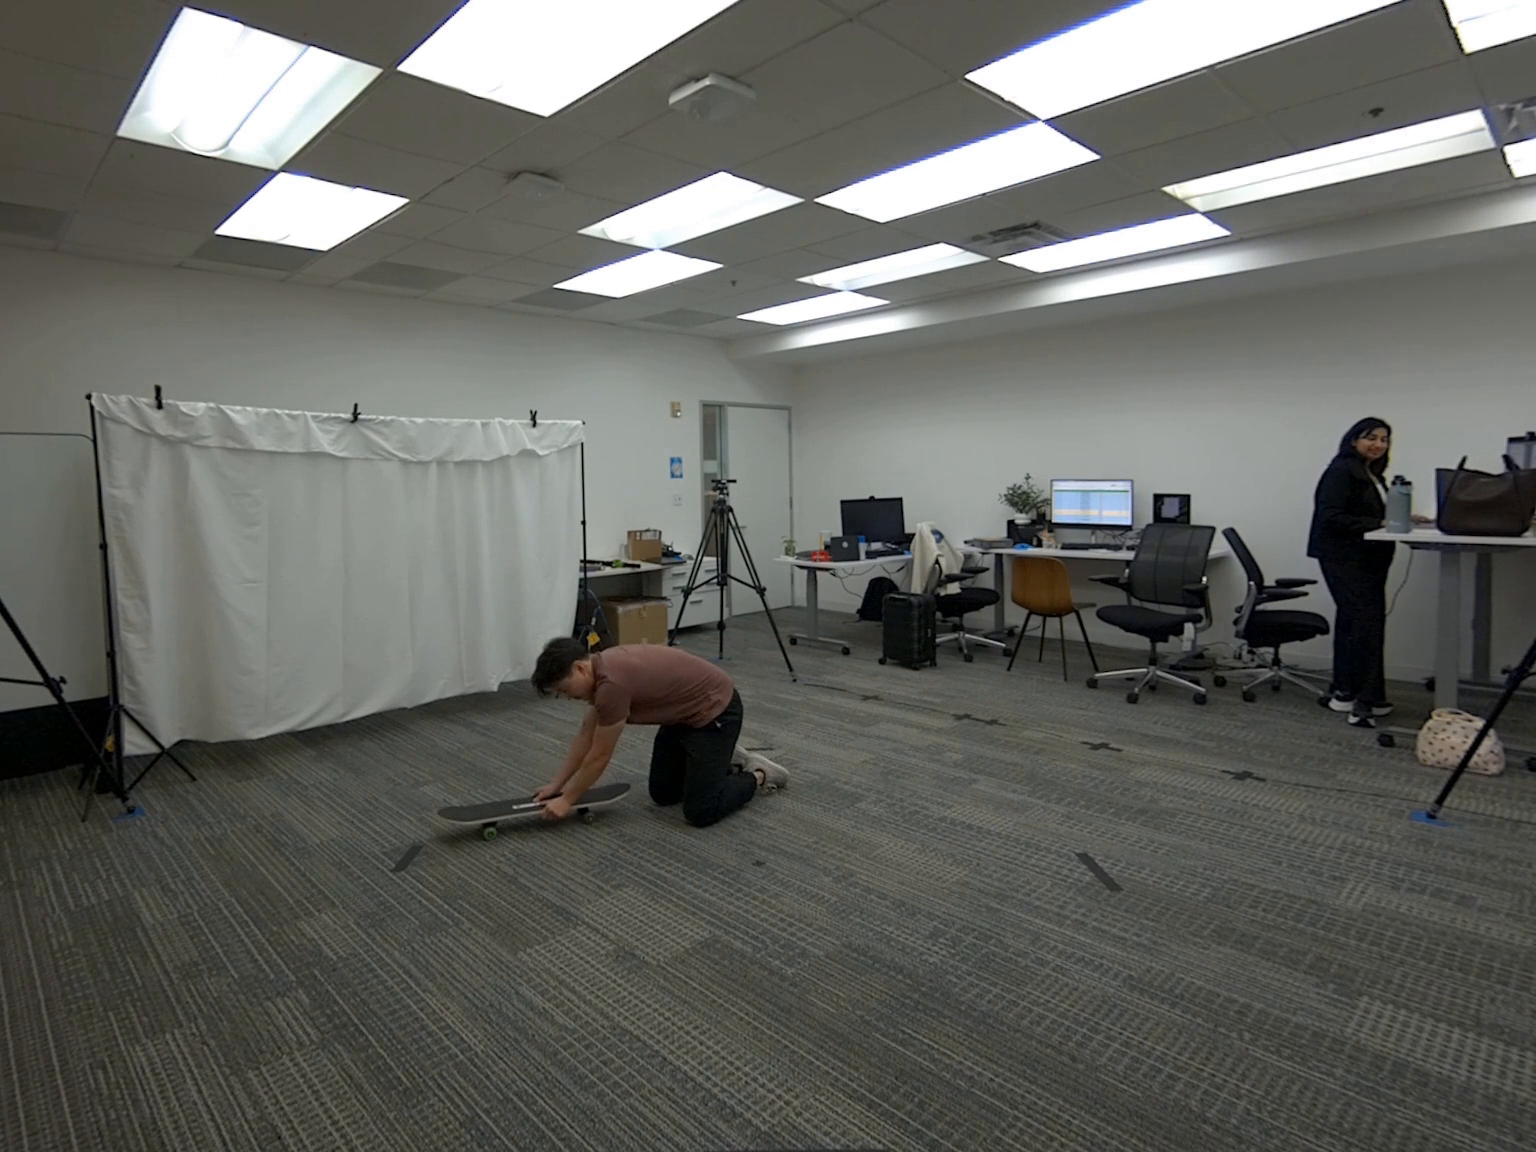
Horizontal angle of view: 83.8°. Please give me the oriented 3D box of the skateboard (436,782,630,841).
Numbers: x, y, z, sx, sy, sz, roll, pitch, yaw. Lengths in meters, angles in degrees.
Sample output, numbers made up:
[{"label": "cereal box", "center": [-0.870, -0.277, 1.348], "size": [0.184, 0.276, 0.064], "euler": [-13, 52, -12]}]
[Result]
[{"label": "skateboard", "center": [-0.931, 0.966, 3.505], "size": [0.771, 0.110, 0.197], "euler": [-3, 5, -20]}]
